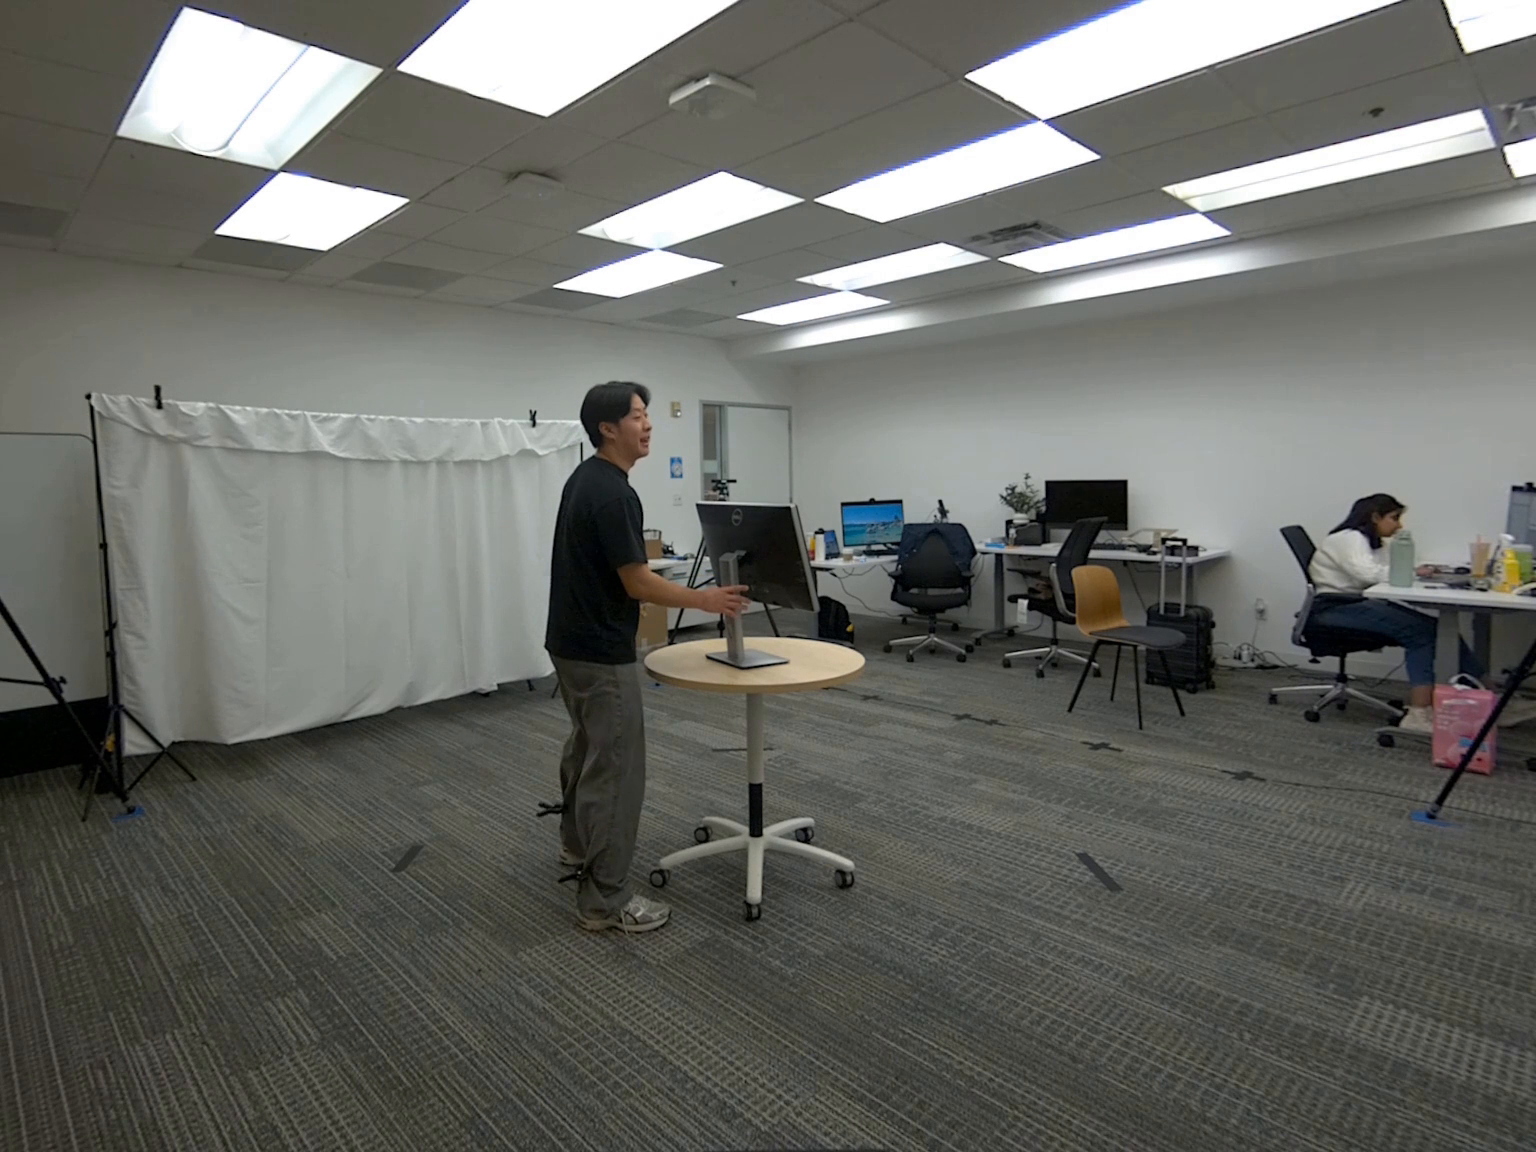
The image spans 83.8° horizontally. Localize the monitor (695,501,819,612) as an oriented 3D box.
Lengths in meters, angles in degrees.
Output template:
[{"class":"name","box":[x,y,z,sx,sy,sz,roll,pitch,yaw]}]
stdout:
[{"class":"monitor","box":[-0.073,0.029,2.933,0.216,0.564,0.578,-2,5,-33]}]
